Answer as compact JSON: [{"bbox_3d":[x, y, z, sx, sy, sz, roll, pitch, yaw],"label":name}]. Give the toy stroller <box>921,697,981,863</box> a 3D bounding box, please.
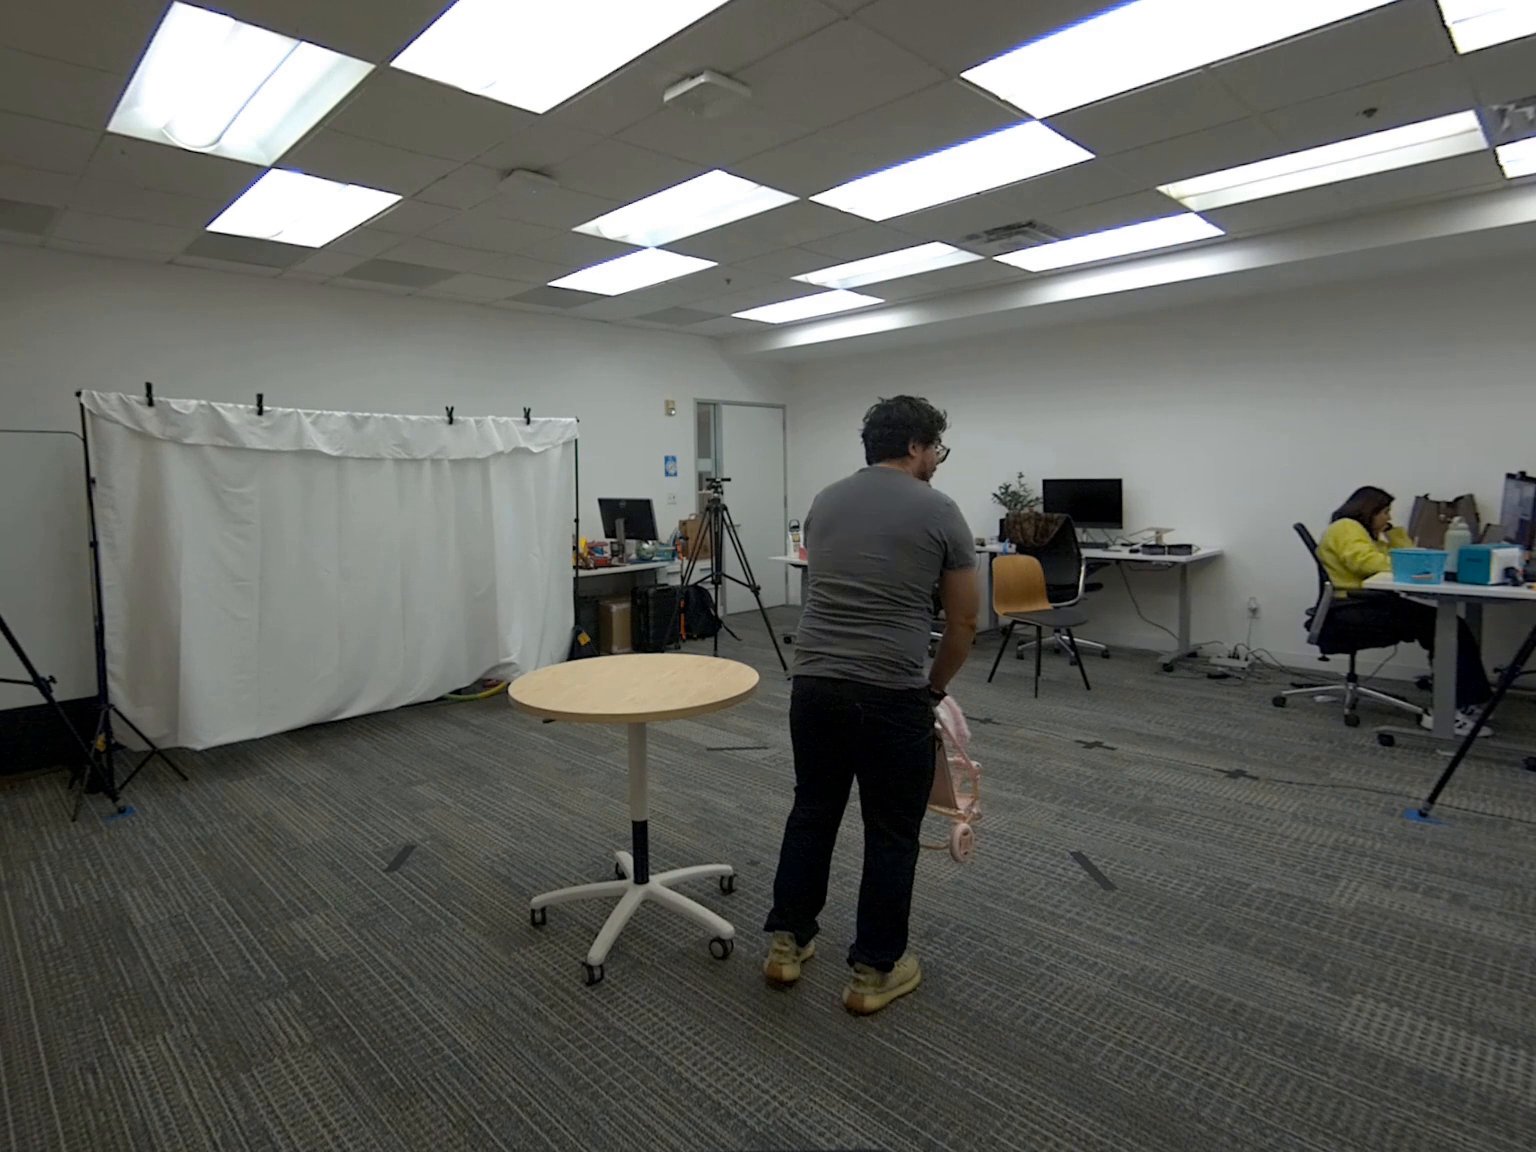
[{"bbox_3d":[0.510,0.604,2.600,0.289,0.534,0.333,-5,3,44],"label":"toy stroller"}]
